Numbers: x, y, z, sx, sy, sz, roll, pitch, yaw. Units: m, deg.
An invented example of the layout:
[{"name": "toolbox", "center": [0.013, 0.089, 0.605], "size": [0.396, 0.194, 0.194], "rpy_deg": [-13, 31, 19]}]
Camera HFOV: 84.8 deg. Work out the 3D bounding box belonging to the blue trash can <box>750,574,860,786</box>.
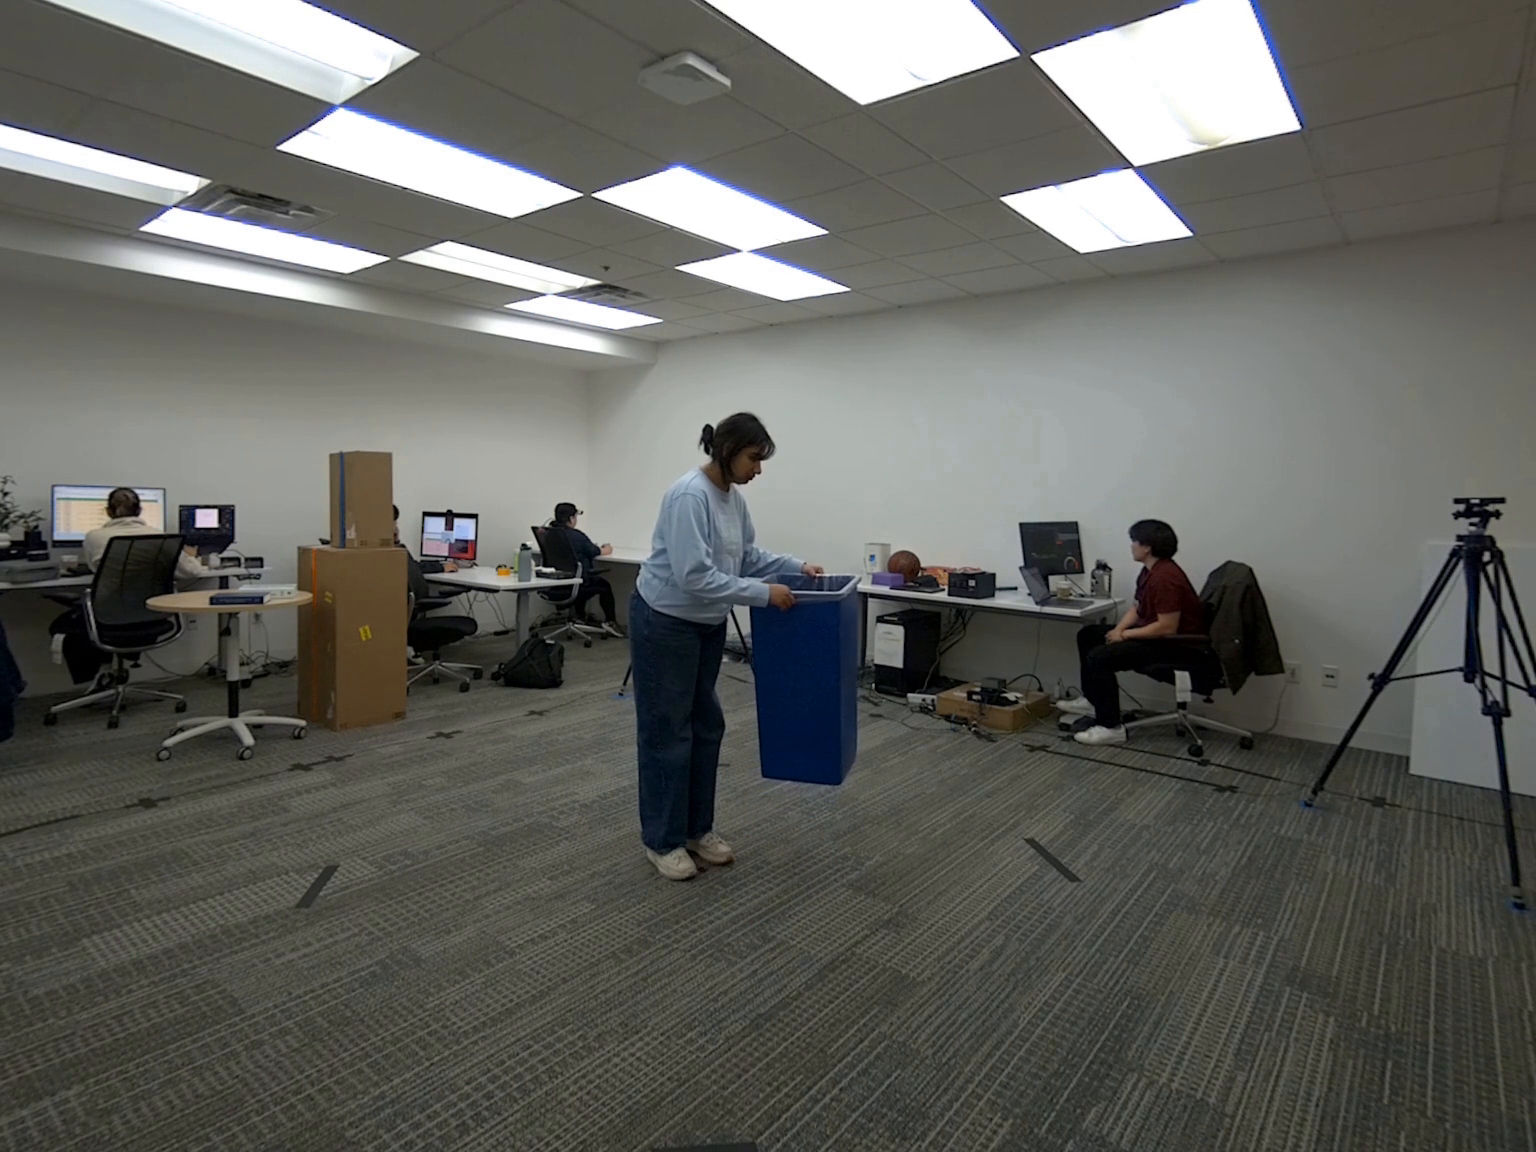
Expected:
[{"name": "blue trash can", "center": [0.139, 0.382, 3.182], "size": [0.385, 0.709, 0.369], "rpy_deg": [-1, 7, 18]}]
